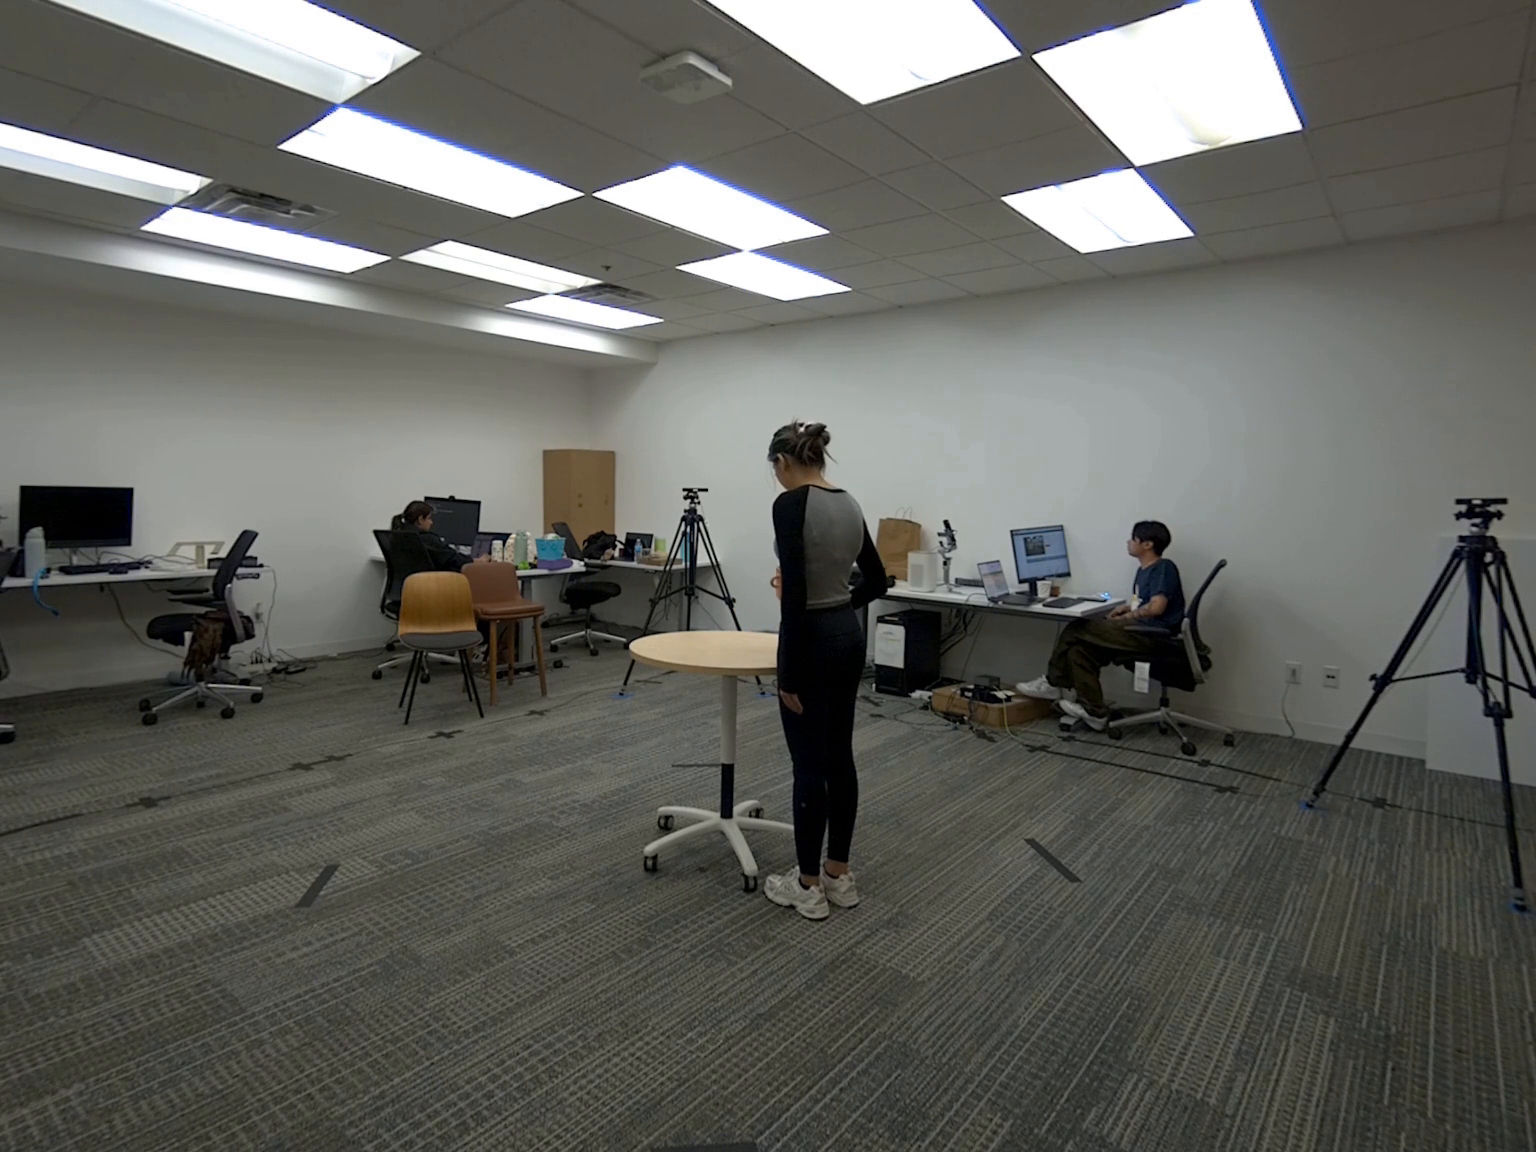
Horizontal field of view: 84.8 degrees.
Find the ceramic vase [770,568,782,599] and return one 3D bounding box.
[{"bbox_3d":[0.098,0.072,3.140,0.161,0.218,0.134,1,8,11],"label":"ceramic vase"}]
